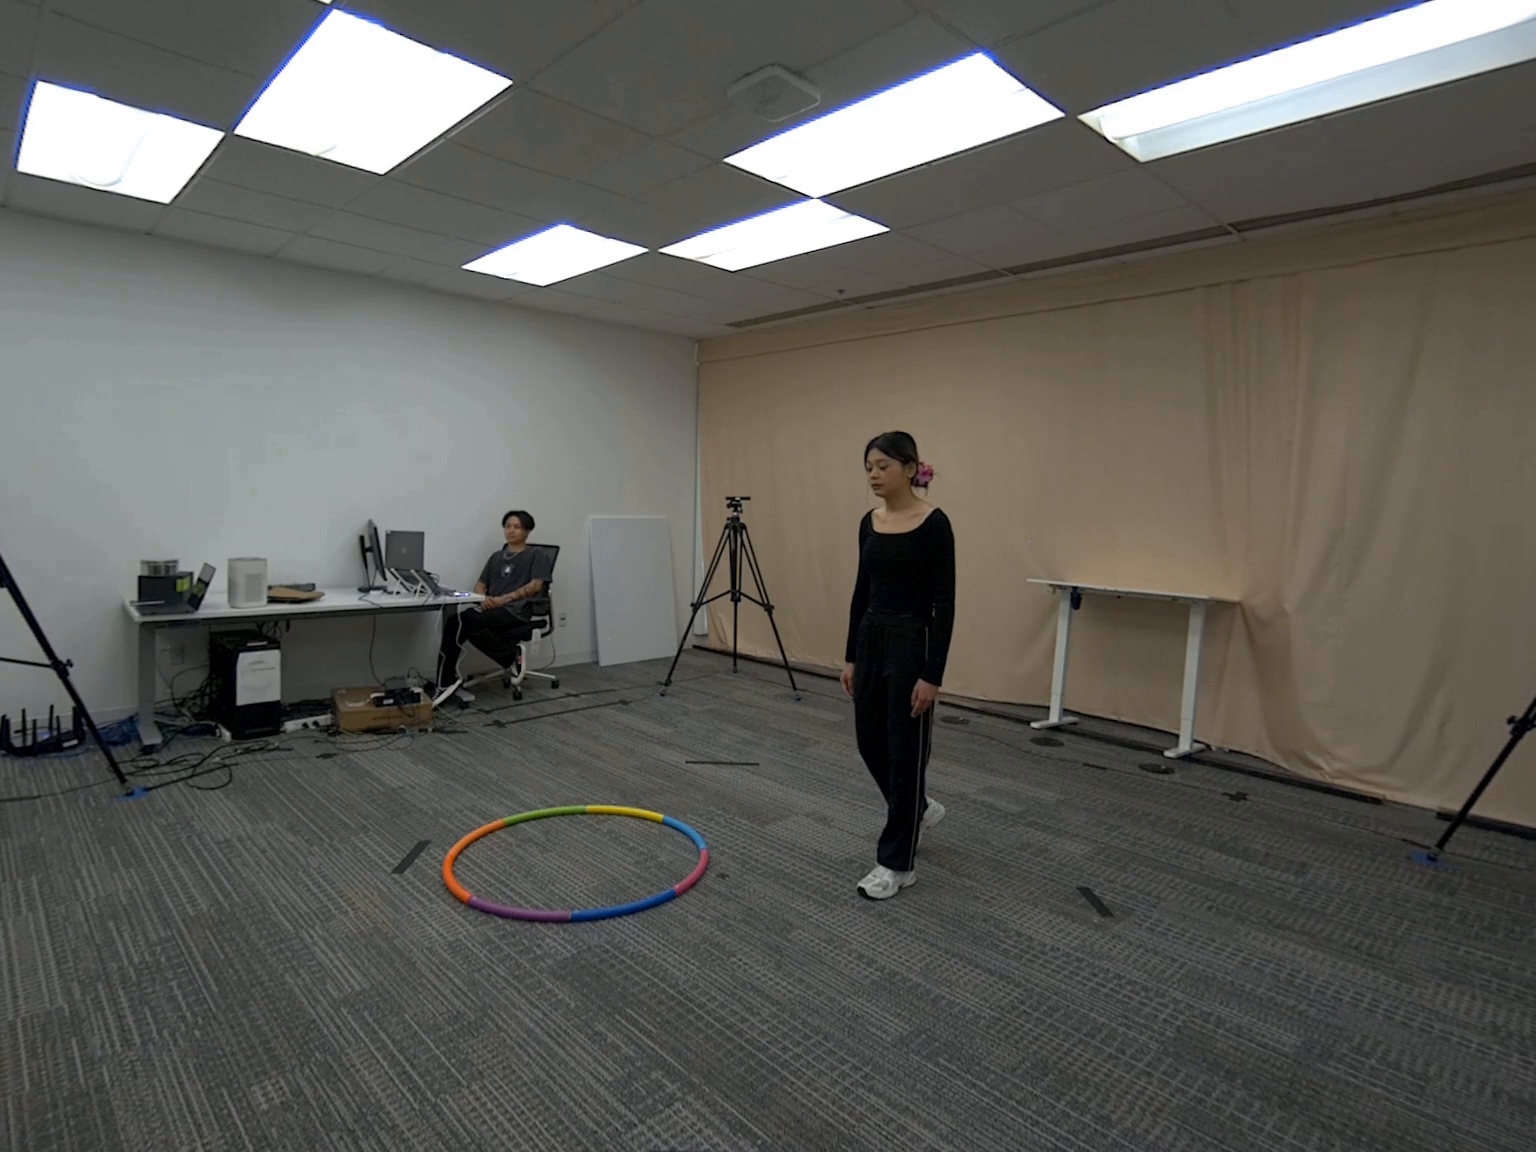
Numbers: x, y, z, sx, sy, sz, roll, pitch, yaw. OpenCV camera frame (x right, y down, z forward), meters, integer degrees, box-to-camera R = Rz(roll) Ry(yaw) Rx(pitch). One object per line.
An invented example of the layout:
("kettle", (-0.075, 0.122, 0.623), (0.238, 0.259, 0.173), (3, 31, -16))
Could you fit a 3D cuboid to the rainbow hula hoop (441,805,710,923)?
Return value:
("rainbow hula hoop", (-0.718, 1.053, 3.214), (0.978, 0.035, 0.982), (1, 6, -1))
